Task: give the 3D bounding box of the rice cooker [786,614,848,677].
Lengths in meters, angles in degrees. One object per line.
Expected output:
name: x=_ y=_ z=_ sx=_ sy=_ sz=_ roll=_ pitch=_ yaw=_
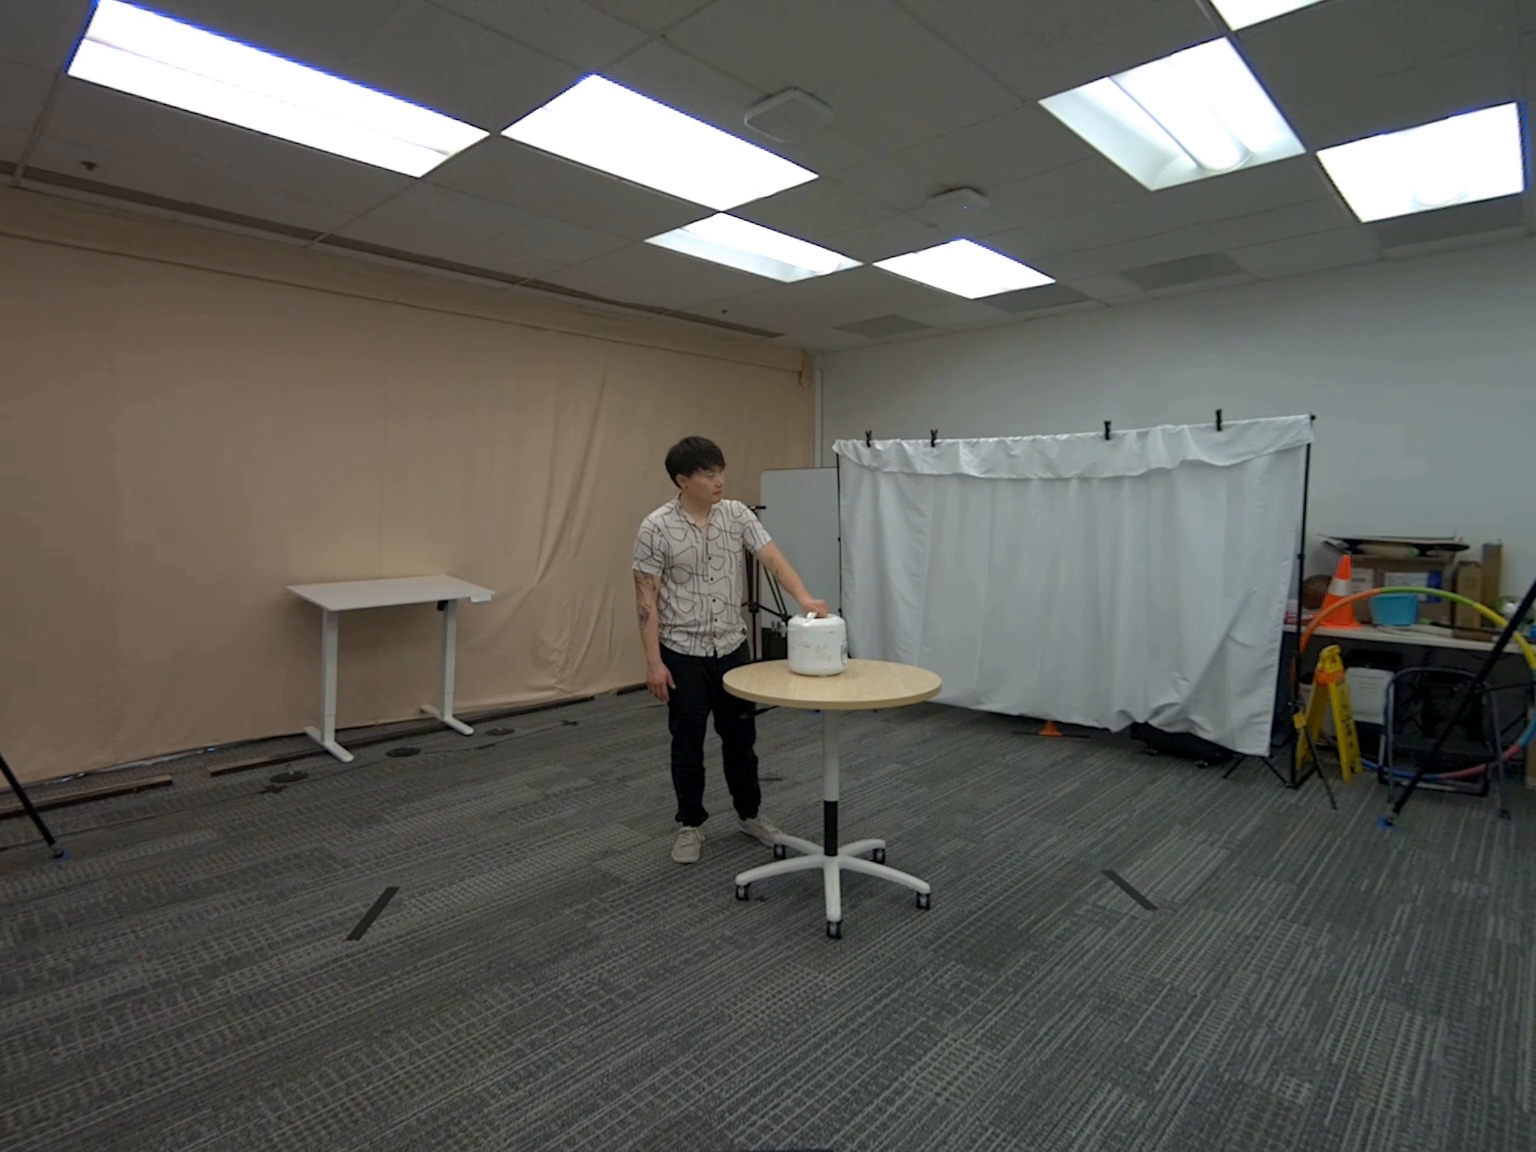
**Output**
rice cooker: x=0.184 y=0.238 z=3.077 sx=0.223 sy=0.232 sz=0.215 roll=0 pitch=3 yaw=25
